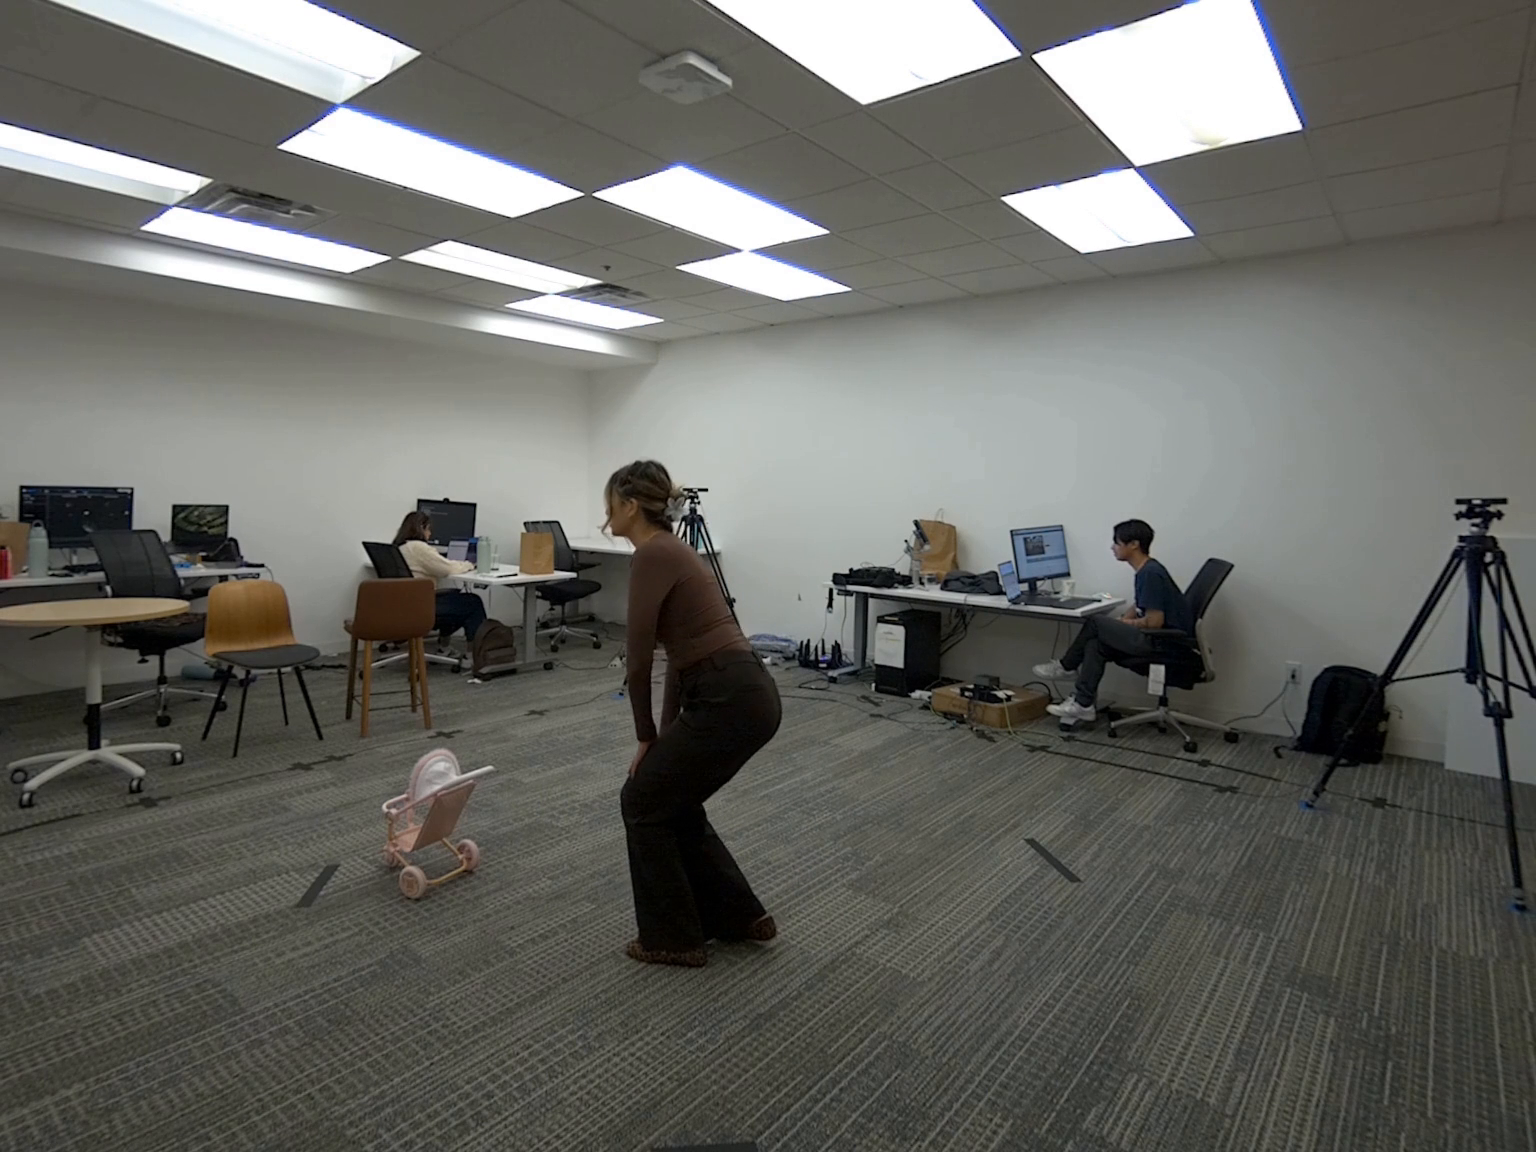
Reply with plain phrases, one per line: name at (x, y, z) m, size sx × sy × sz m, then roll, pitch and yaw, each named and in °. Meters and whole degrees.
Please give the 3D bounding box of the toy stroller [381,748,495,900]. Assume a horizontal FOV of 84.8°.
toy stroller at (-1.203, 0.844, 2.983) m, size 0.353 × 0.531 × 0.274 m, roll 23°, pitch 14°, yaw 29°
